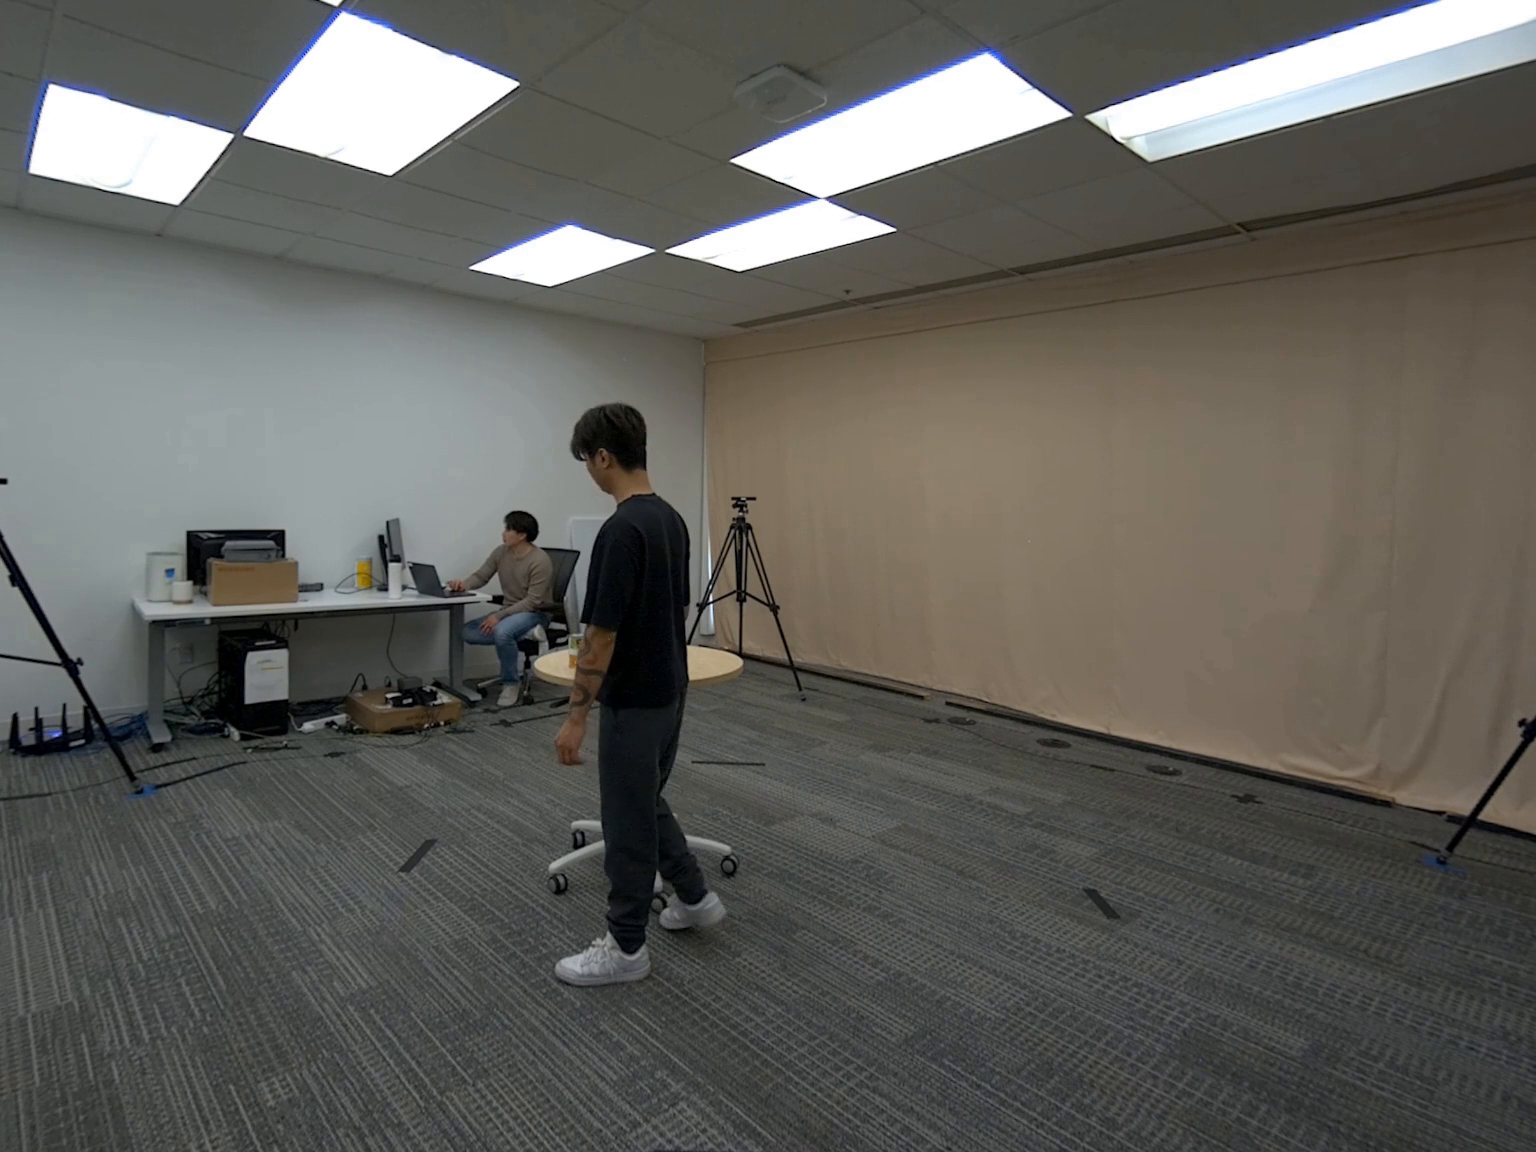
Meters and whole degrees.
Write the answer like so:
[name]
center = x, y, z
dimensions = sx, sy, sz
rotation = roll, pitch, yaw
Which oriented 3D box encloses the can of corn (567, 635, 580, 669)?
[can of corn]
center = -0.681, 0.270, 2.992
dimensions = 0.074, 0.111, 0.074
rotation = 2, 3, -2
